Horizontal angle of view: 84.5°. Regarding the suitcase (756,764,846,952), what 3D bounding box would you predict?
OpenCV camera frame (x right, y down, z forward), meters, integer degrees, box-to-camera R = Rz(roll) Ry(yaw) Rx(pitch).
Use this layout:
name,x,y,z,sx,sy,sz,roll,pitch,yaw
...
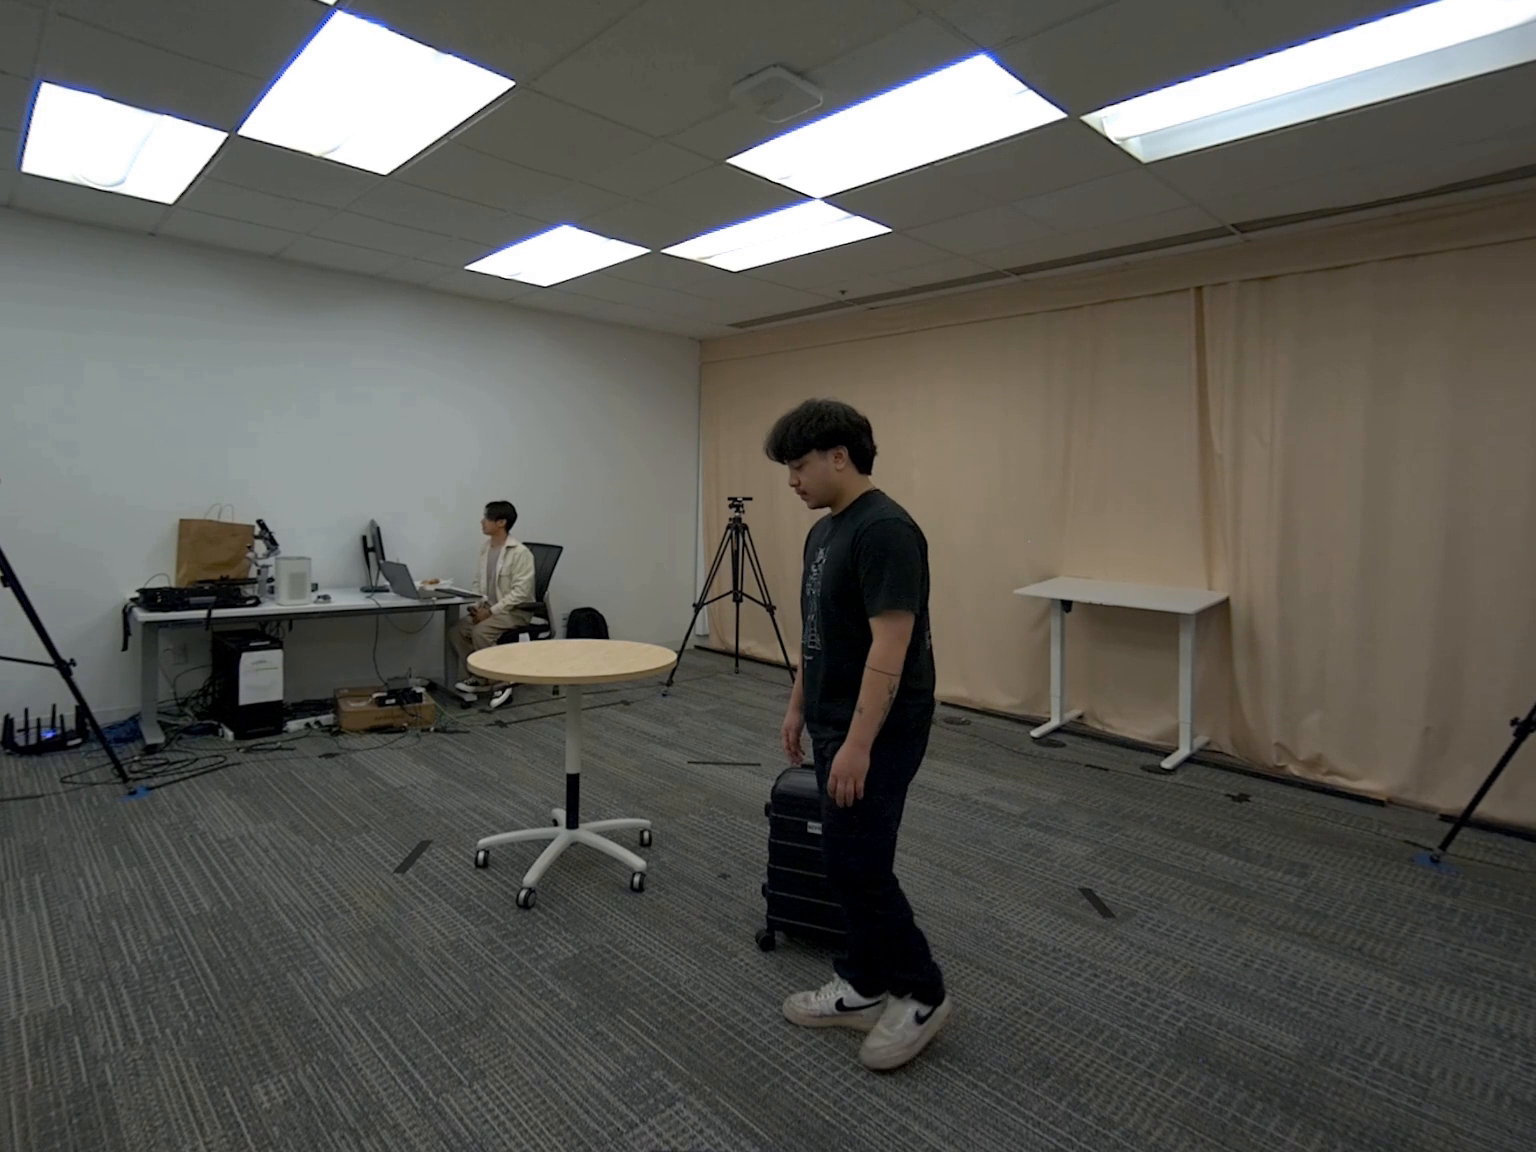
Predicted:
name,x,y,z,sx,sy,sz,roll,pitch,yaw
suitcase,0.183,0.888,2.642,0.381,0.548,0.245,4,4,18
